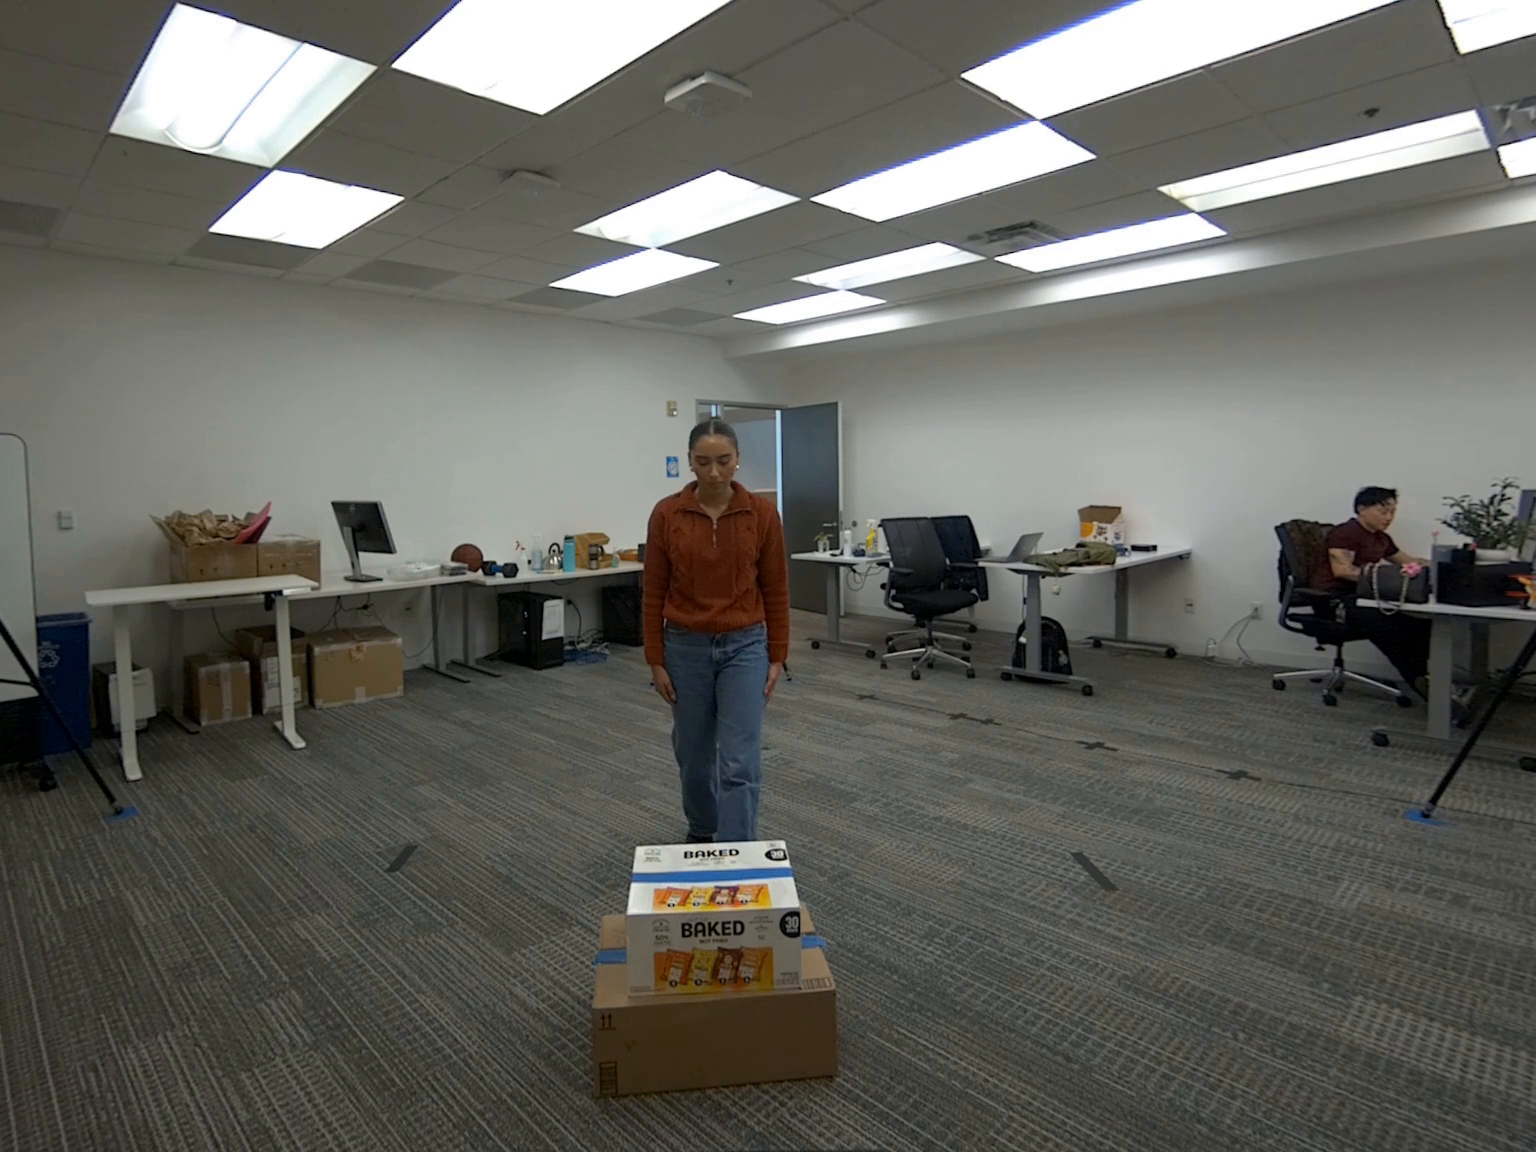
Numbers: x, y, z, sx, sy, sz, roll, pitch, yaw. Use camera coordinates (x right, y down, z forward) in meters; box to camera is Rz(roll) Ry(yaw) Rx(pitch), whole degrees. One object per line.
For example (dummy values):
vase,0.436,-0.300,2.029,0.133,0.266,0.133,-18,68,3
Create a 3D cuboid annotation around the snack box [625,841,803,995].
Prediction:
snack box,-0.139,0.847,2.128,0.404,0.204,0.343,-2,8,-3
